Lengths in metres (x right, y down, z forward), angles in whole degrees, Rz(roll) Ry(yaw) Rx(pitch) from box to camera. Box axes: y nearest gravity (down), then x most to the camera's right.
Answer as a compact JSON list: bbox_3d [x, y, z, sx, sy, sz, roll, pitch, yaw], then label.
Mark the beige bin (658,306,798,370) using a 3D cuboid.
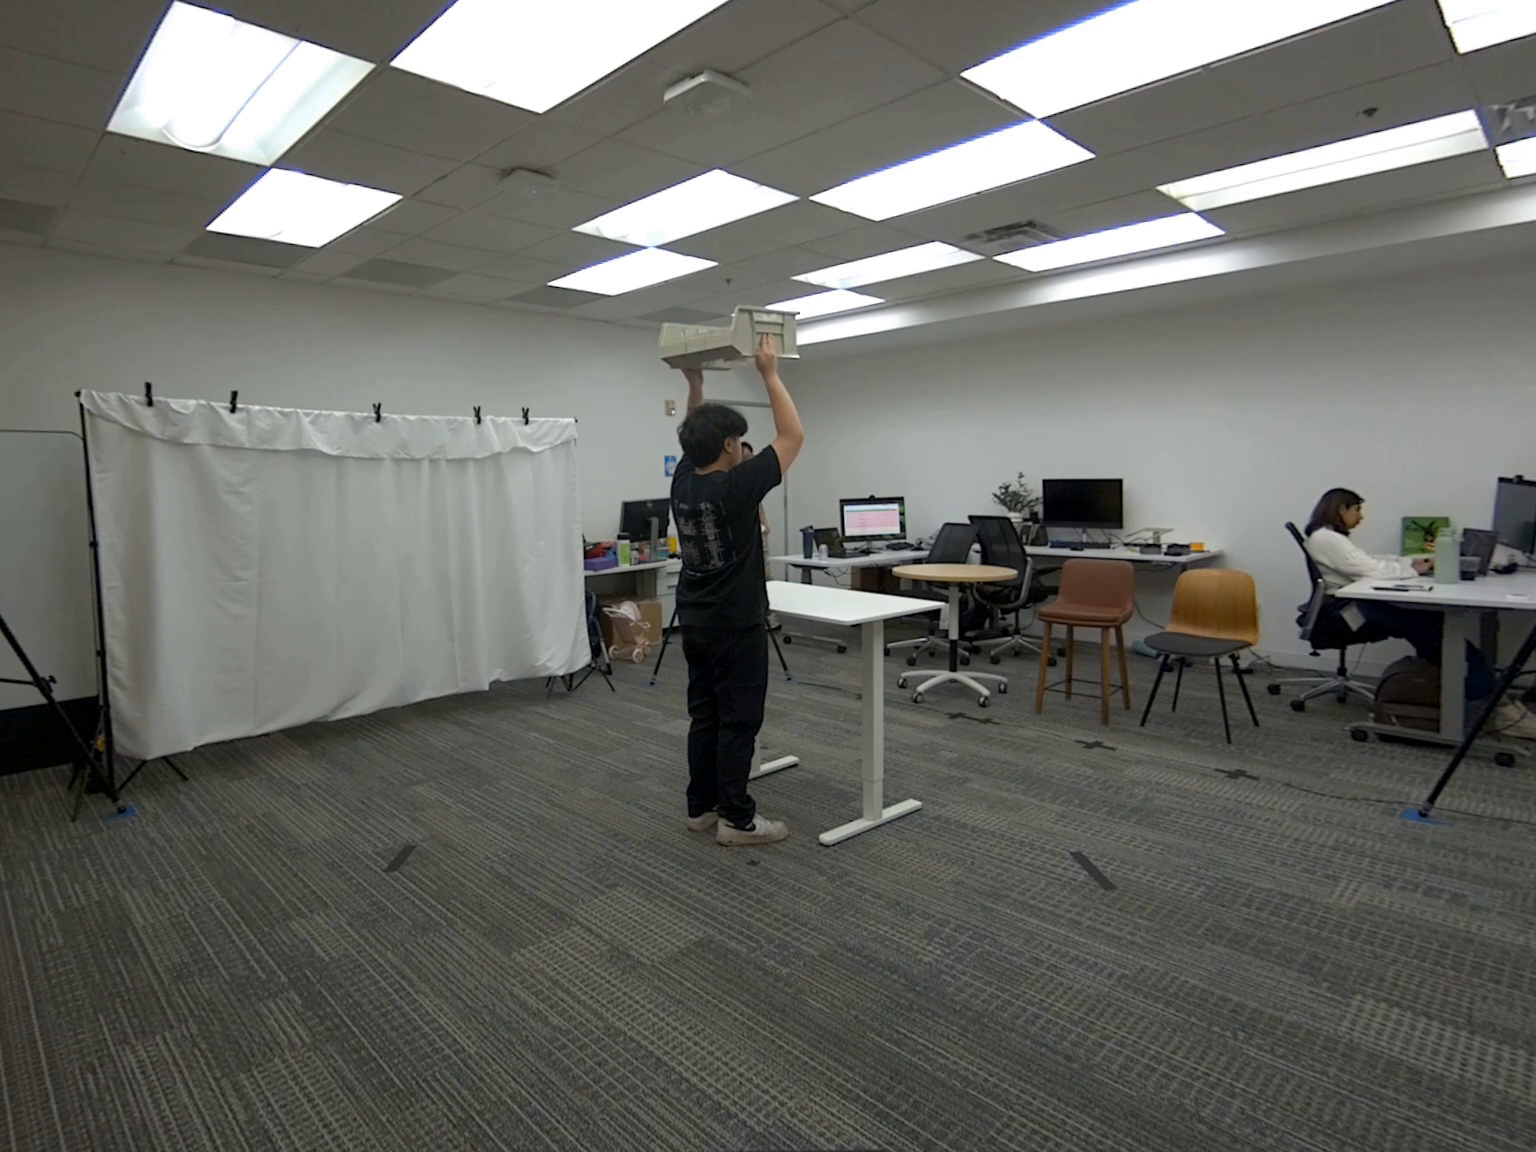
[{"bbox_3d":[-0.148,-0.916,3.319,0.435,0.188,0.368,4,10,45],"label":"beige bin"}]
